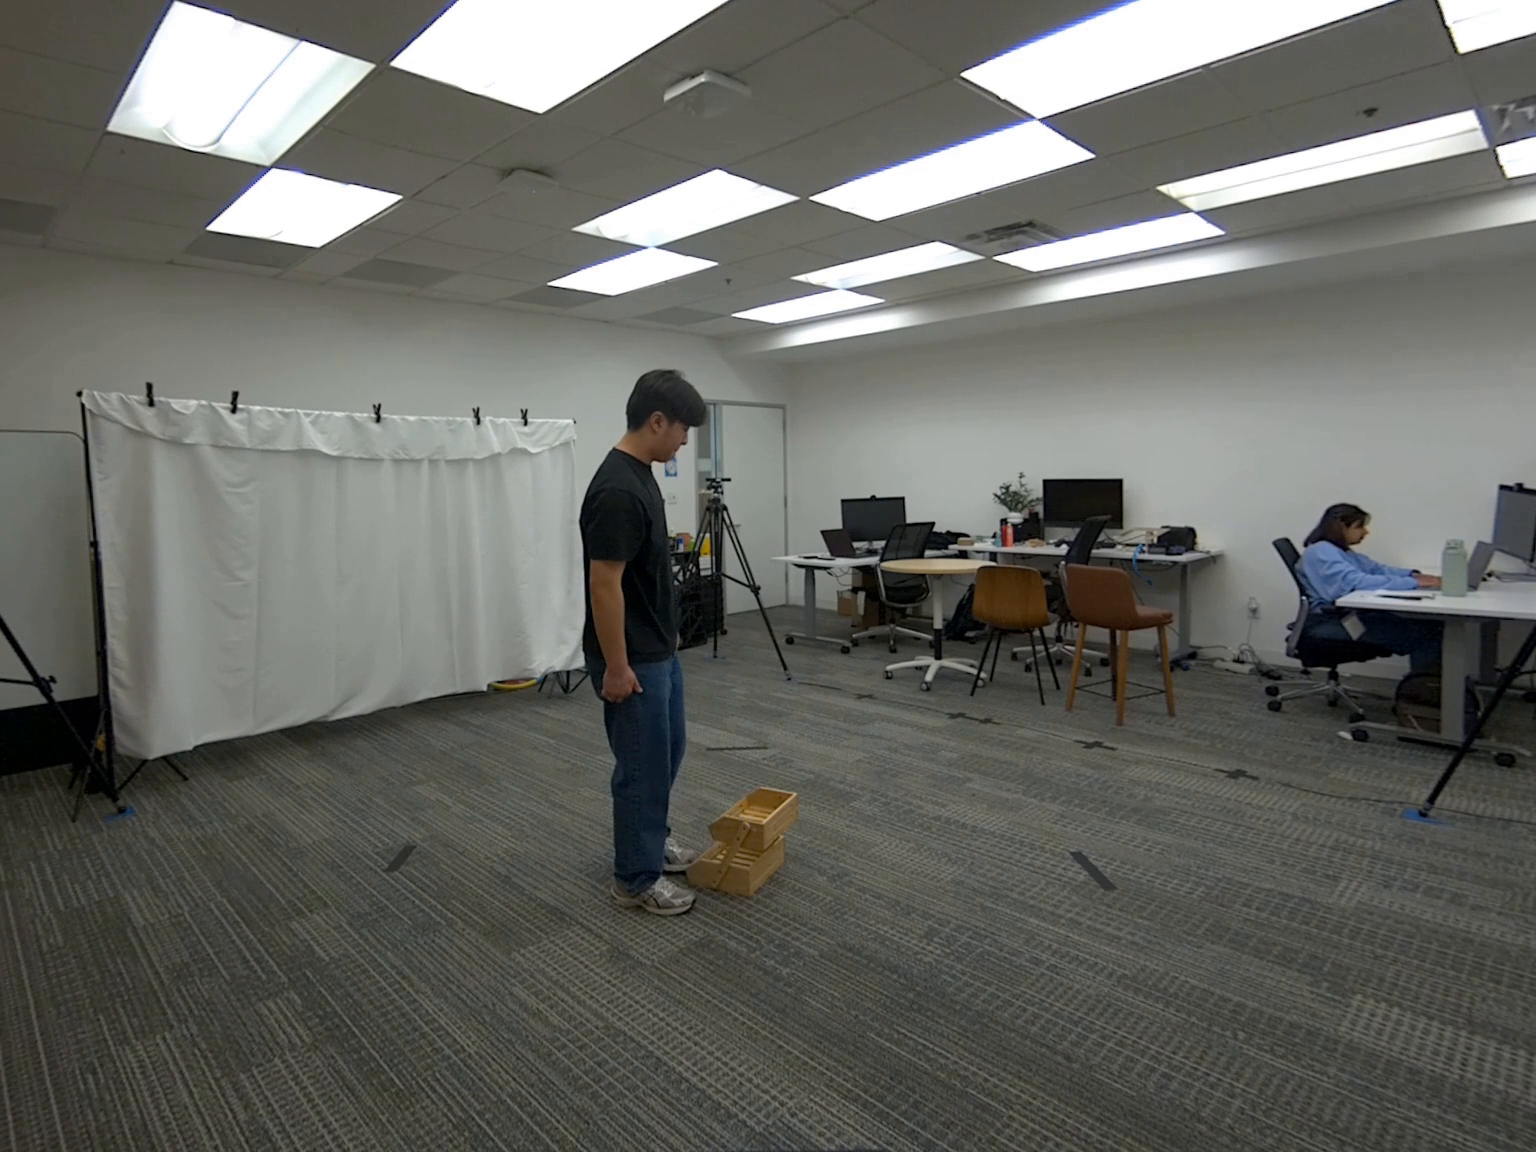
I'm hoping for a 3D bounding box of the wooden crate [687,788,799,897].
[{"bbox_3d":[-0.096,0.918,3.022,0.309,0.272,0.318,2,6,25],"label":"wooden crate"}]
